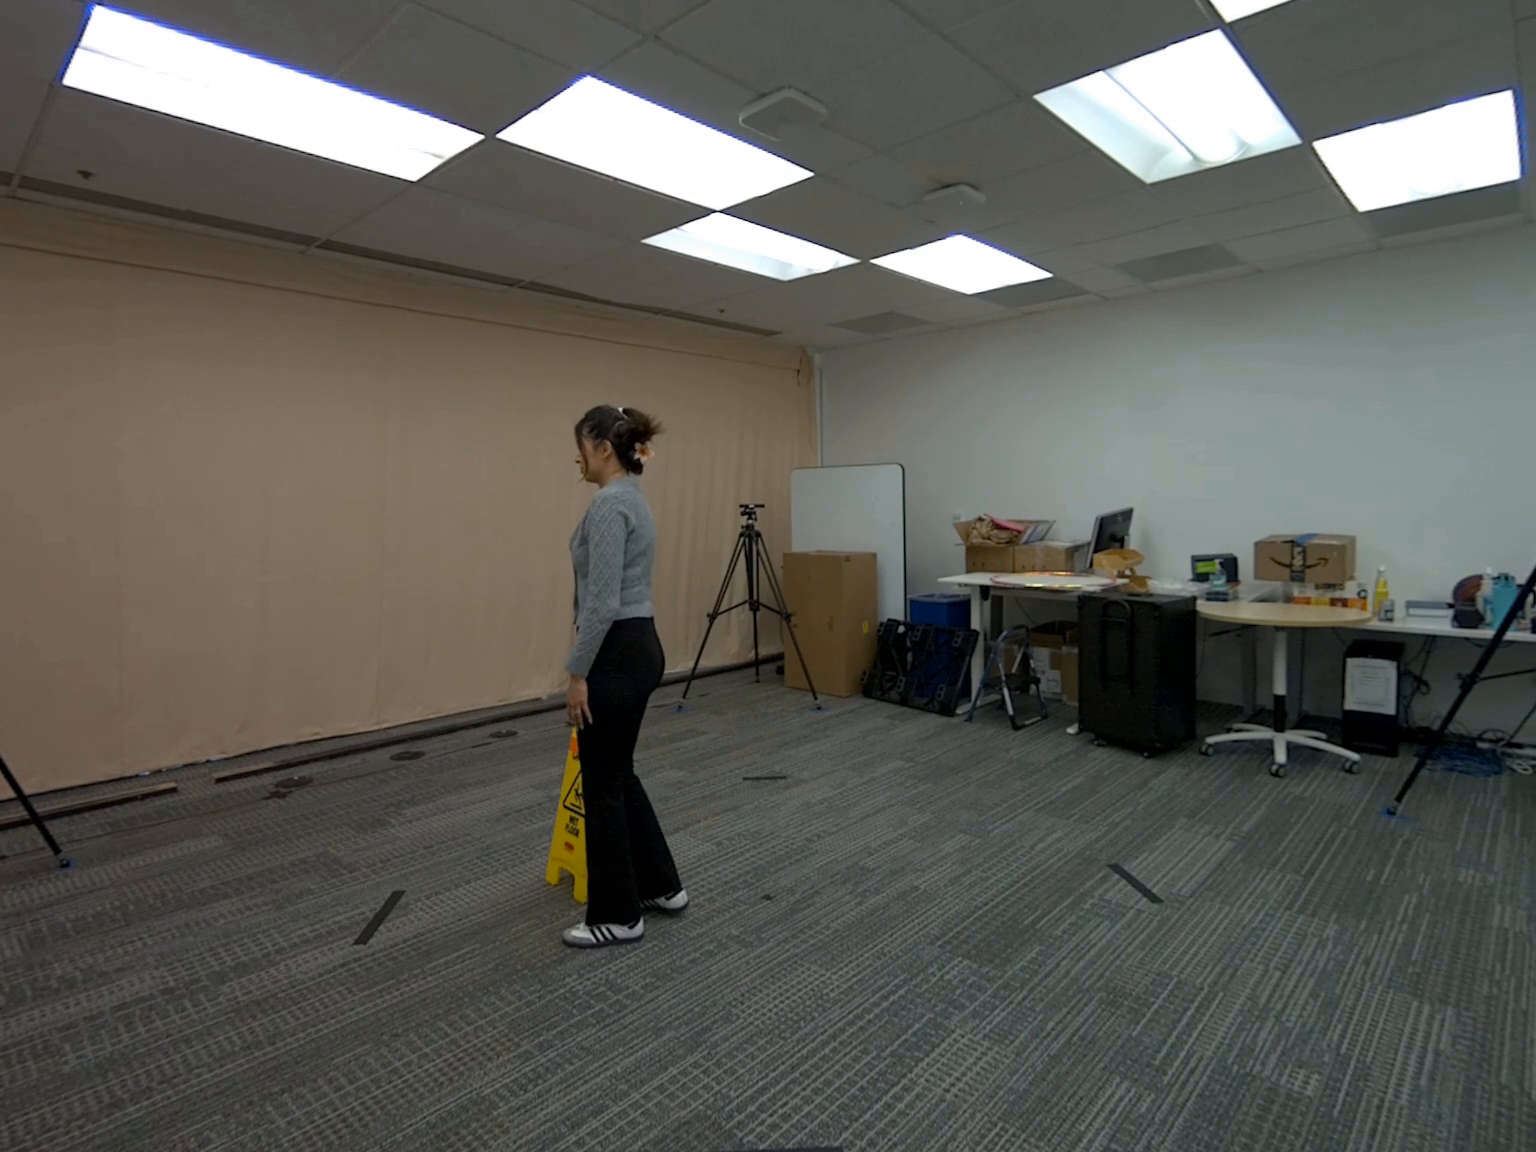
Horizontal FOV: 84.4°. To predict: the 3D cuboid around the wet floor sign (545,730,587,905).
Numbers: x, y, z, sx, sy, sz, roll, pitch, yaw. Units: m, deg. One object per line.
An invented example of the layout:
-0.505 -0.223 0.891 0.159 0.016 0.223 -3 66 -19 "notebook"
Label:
-0.645 0.818 3.148 0.281 0.645 0.291 -3 4 -42 "wet floor sign"
